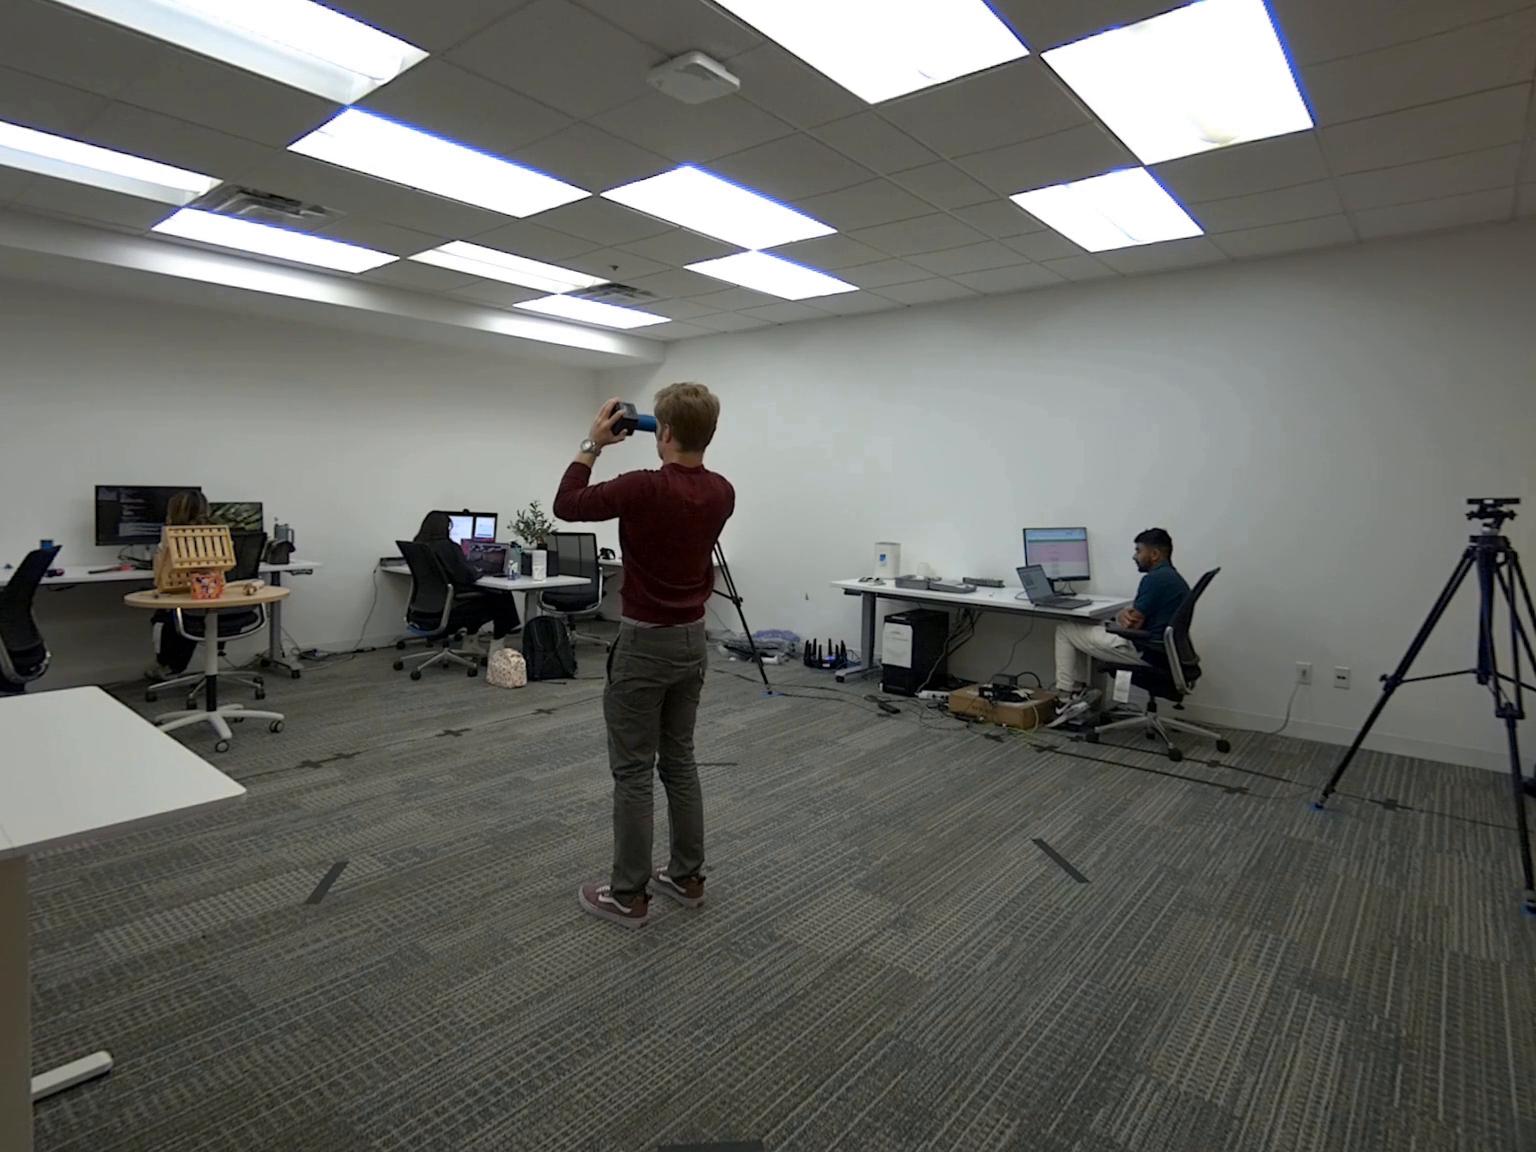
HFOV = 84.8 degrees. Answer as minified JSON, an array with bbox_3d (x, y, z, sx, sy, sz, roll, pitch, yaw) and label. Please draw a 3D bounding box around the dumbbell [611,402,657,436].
[{"bbox_3d":[-0.409,-0.522,2.860,0.284,0.122,0.113,3,33,-40],"label":"dumbbell"}]
